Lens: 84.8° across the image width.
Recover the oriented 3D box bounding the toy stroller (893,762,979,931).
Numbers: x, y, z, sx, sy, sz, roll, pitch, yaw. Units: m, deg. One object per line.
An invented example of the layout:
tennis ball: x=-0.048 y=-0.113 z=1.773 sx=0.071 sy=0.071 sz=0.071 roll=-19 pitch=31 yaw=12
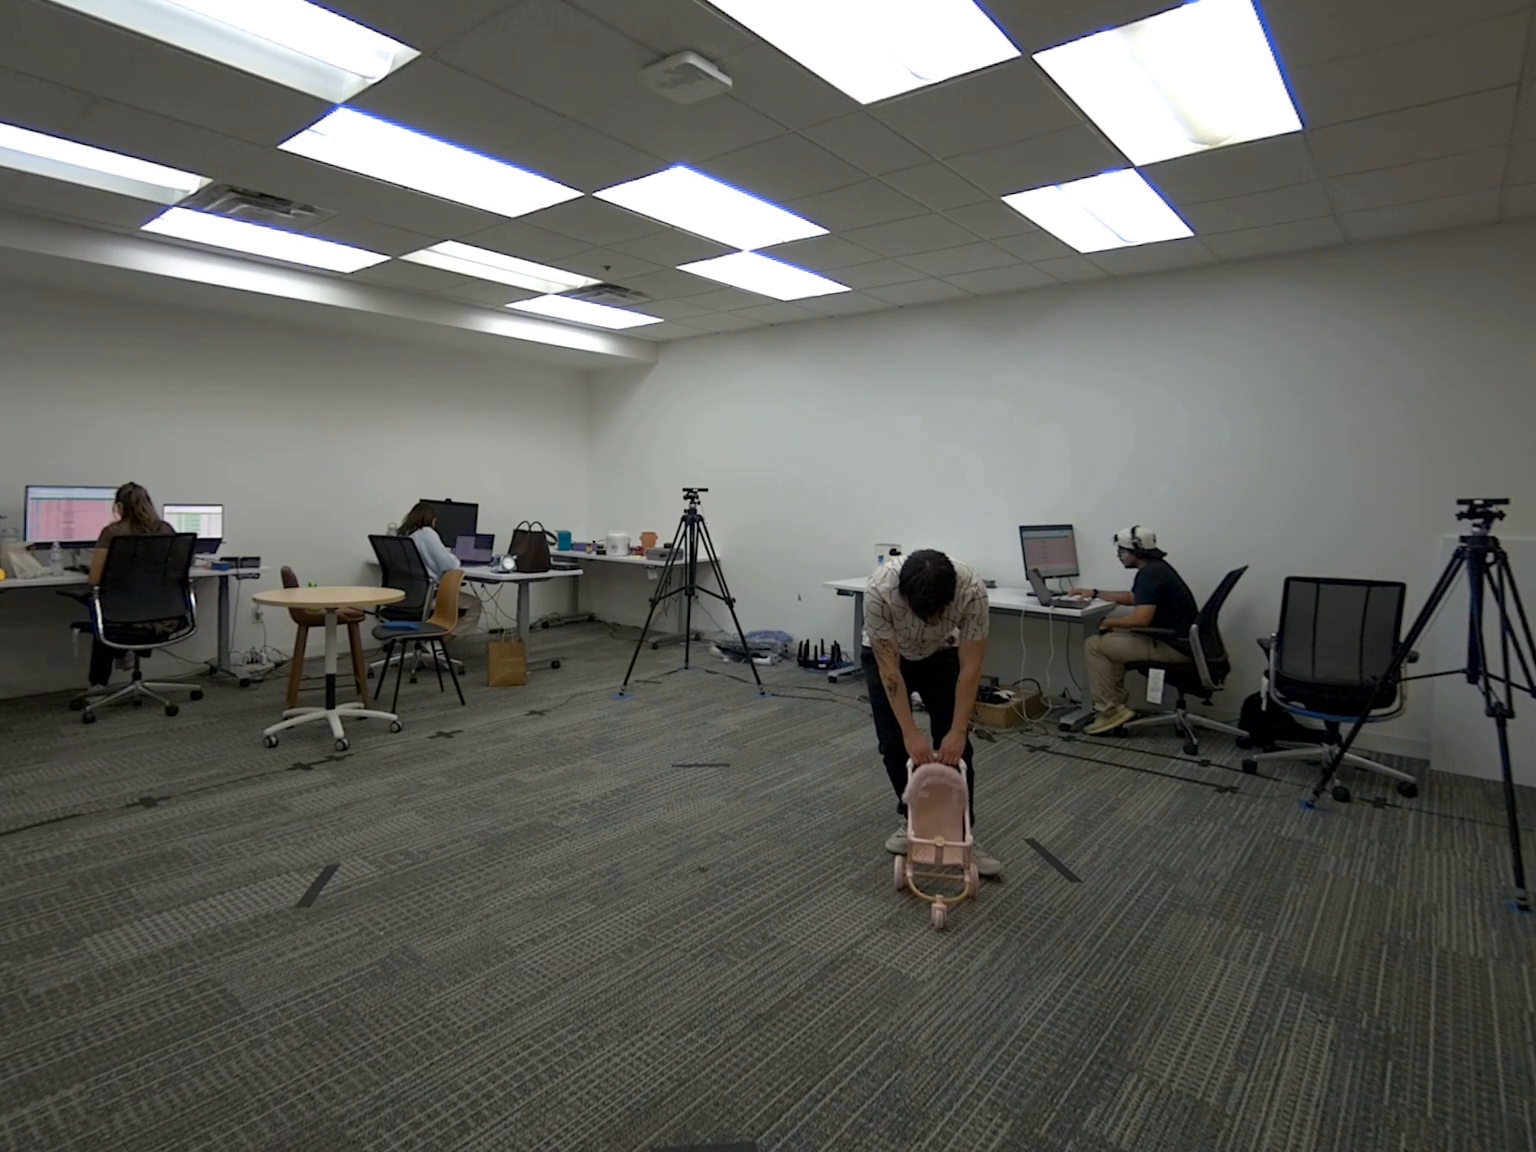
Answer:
toy stroller: x=0.567 y=0.881 z=2.900 sx=0.286 sy=0.540 sz=0.332 roll=1 pitch=-11 yaw=14
